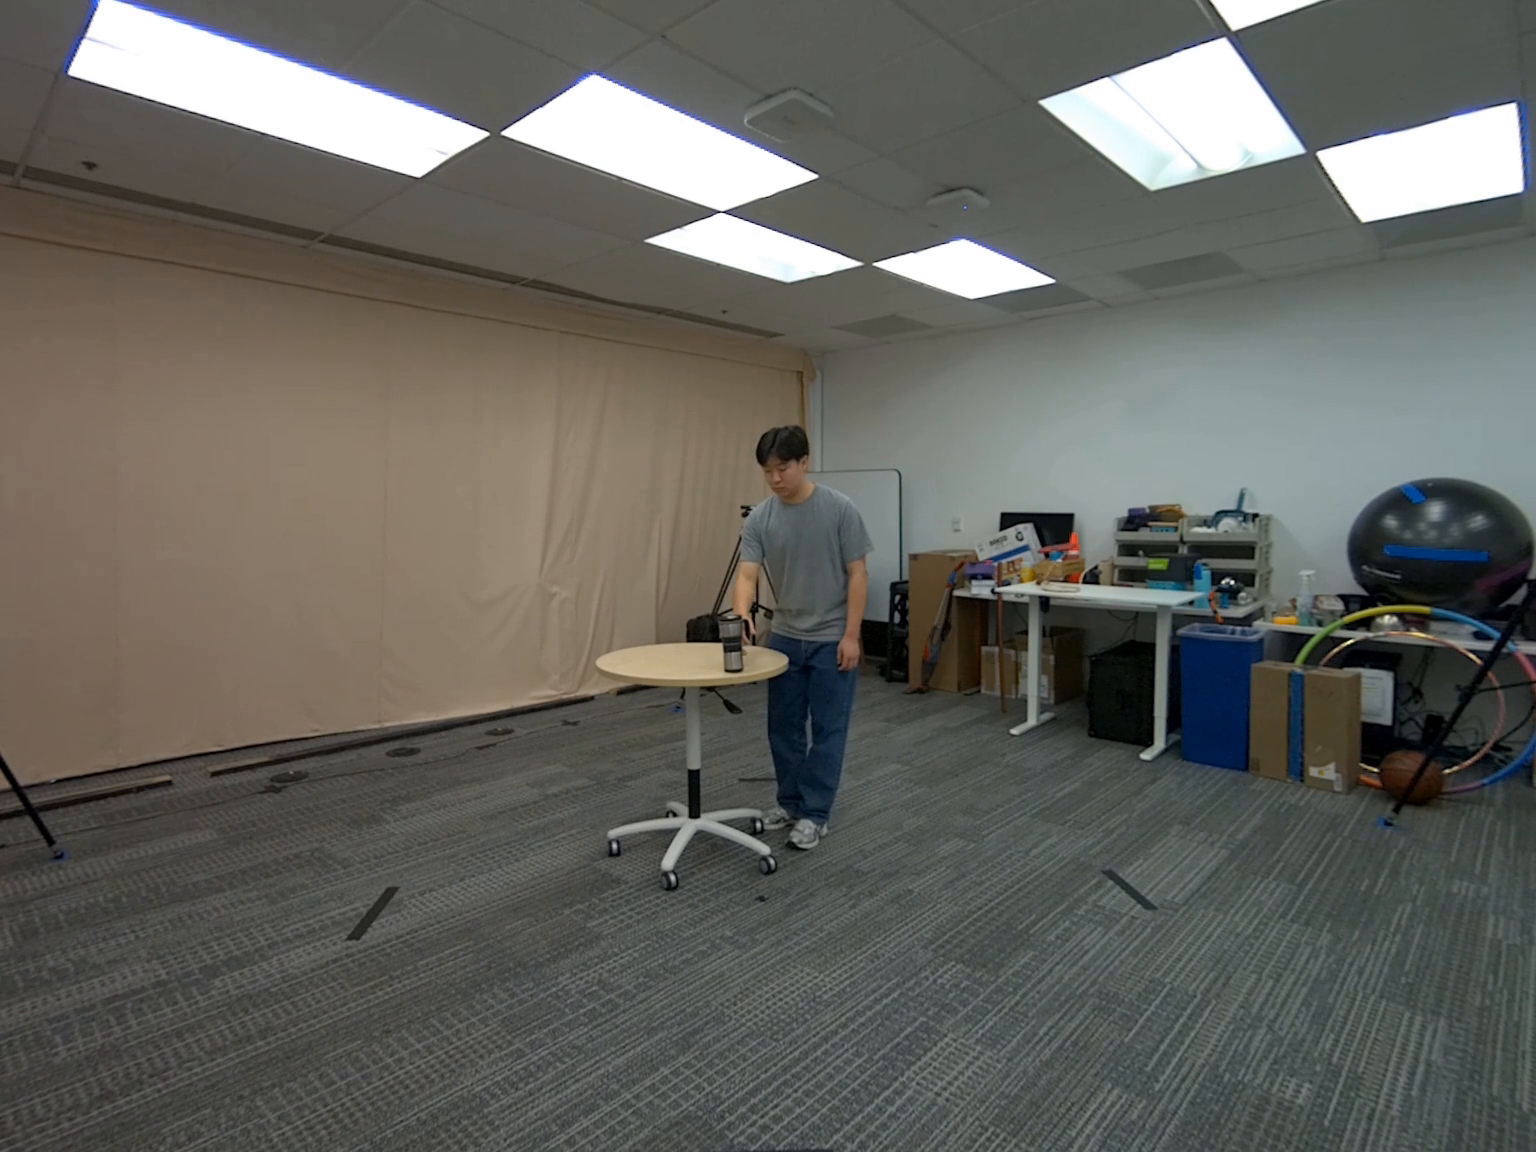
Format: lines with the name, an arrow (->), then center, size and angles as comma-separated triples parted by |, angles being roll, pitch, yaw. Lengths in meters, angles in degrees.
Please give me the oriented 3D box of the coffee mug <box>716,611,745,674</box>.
coffee mug -> -0.110, 0.249, 3.110 | 0.120, 0.203, 0.089 | -9, 1, -17
